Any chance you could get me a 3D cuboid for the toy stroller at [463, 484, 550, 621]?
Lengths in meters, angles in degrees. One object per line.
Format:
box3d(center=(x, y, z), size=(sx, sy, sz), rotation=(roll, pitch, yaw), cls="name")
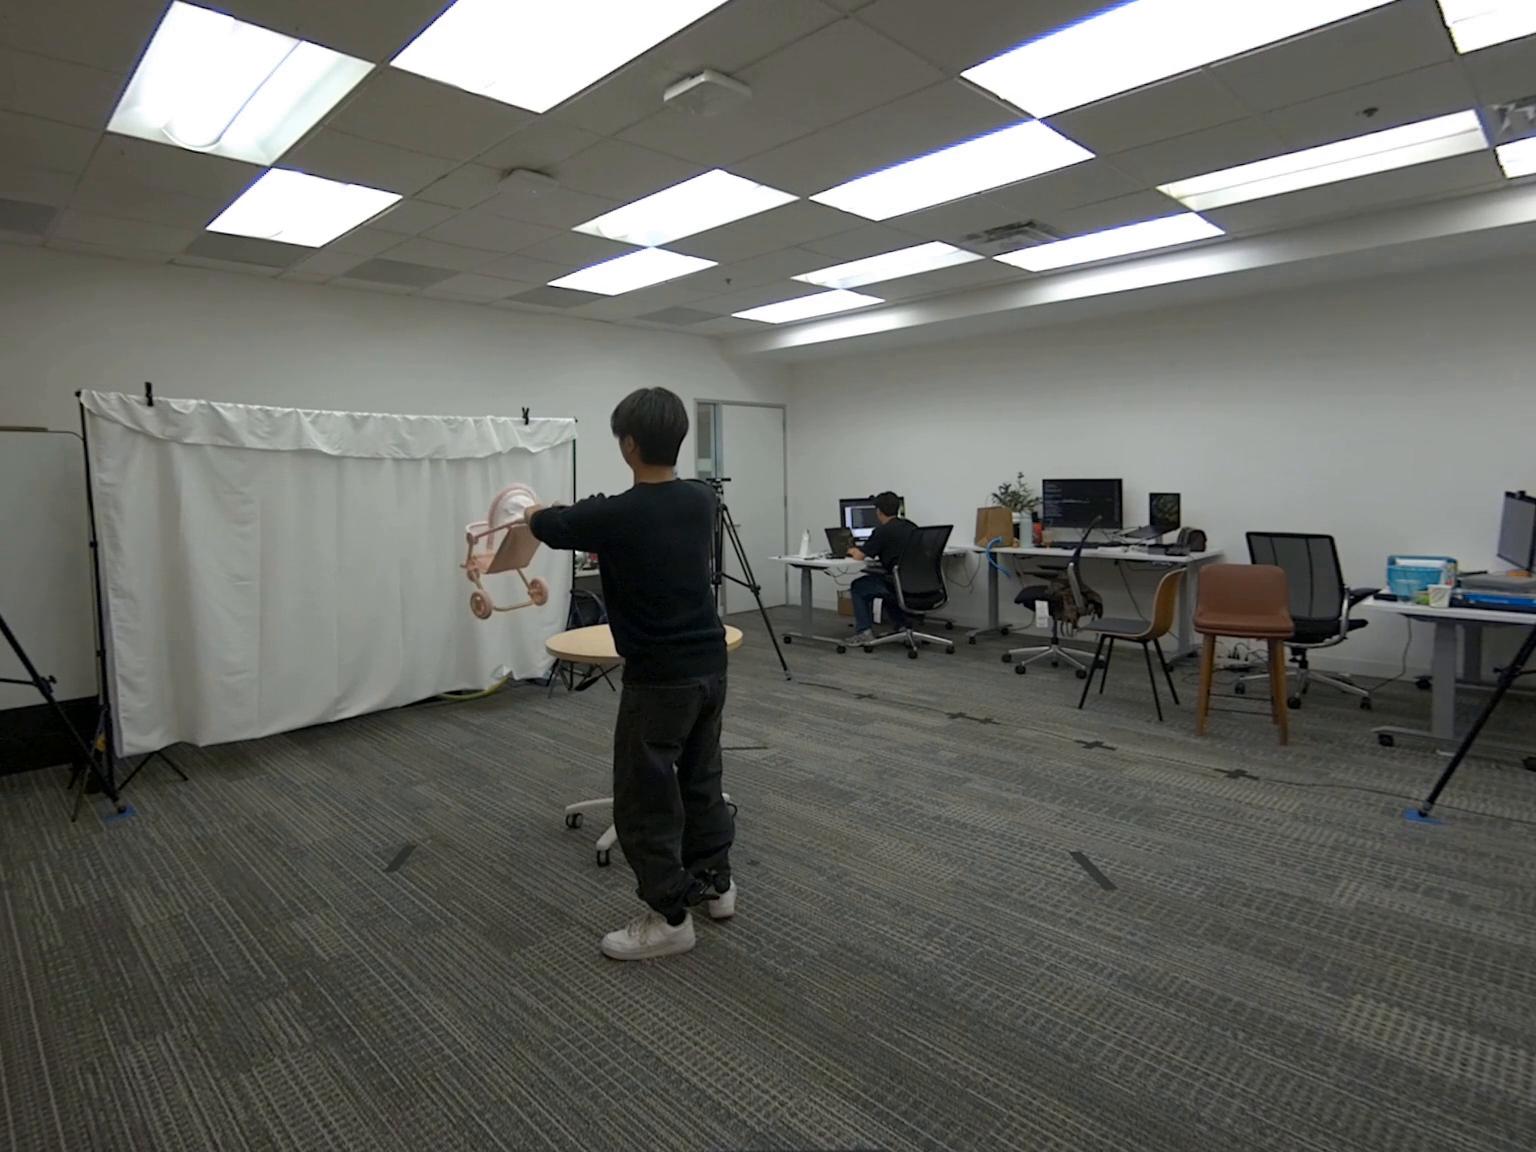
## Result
box3d(center=(-0.934, -0.103, 3.063), size=(0.274, 0.529, 0.354), rotation=(-8, 43, -46), cls="toy stroller")
